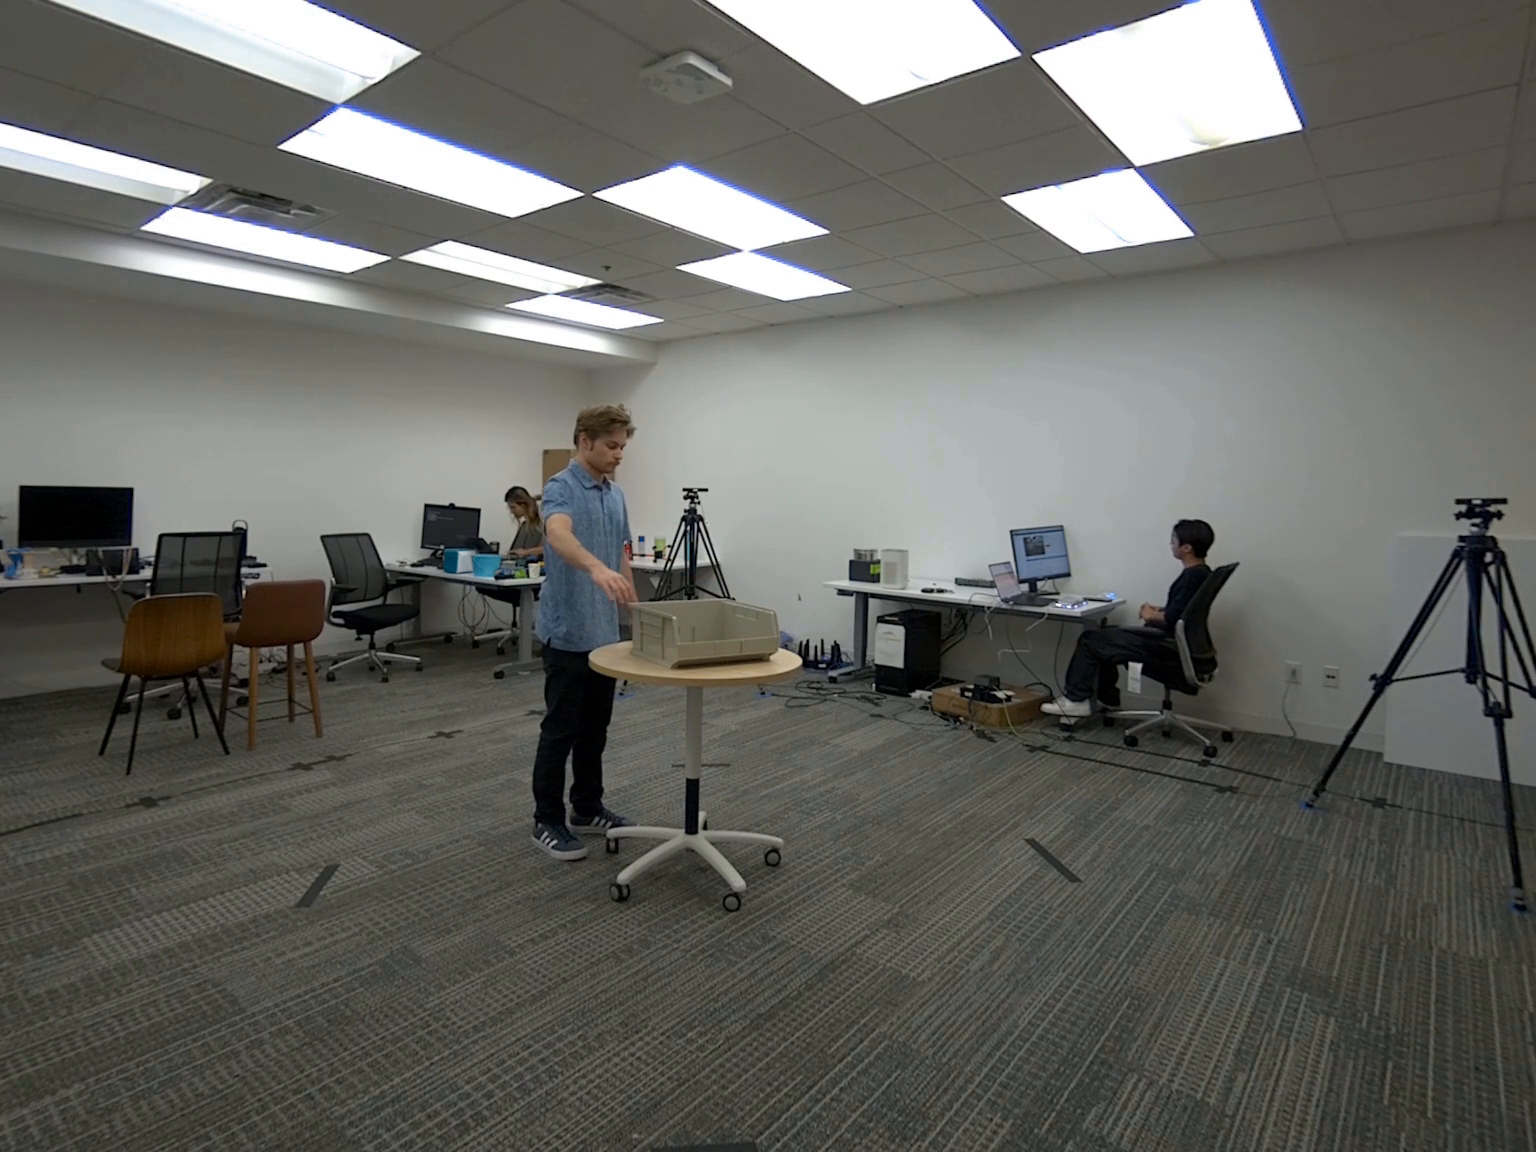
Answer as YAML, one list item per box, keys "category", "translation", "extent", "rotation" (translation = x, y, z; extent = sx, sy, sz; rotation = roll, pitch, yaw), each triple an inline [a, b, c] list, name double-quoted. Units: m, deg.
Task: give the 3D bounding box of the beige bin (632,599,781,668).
- category: "beige bin"
  translation: [-0.249, 0.195, 3.060]
  extent: [0.410, 0.188, 0.389]
  rotation: [-2, 5, -33]
